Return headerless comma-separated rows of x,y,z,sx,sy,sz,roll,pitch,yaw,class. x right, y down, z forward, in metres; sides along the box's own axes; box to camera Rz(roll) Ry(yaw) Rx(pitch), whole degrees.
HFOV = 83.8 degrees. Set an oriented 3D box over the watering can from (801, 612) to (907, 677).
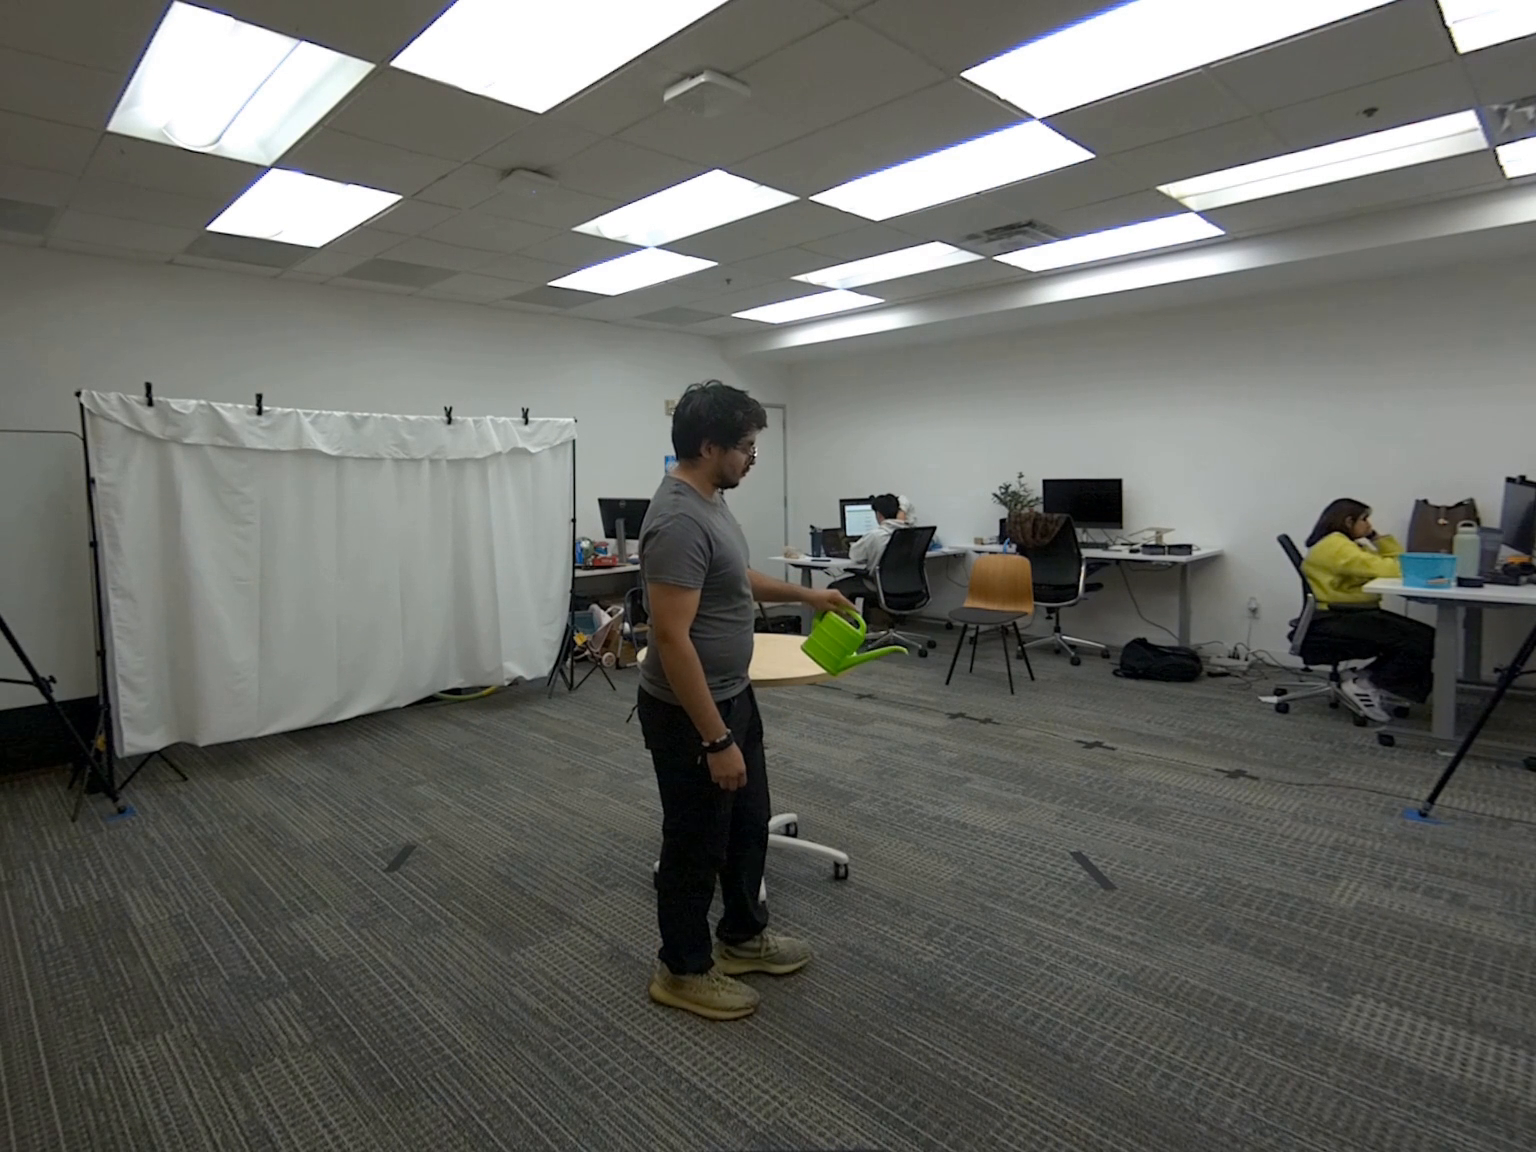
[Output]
0.210,0.190,2.288,0.094,0.177,0.289,38,2,-41,watering can
